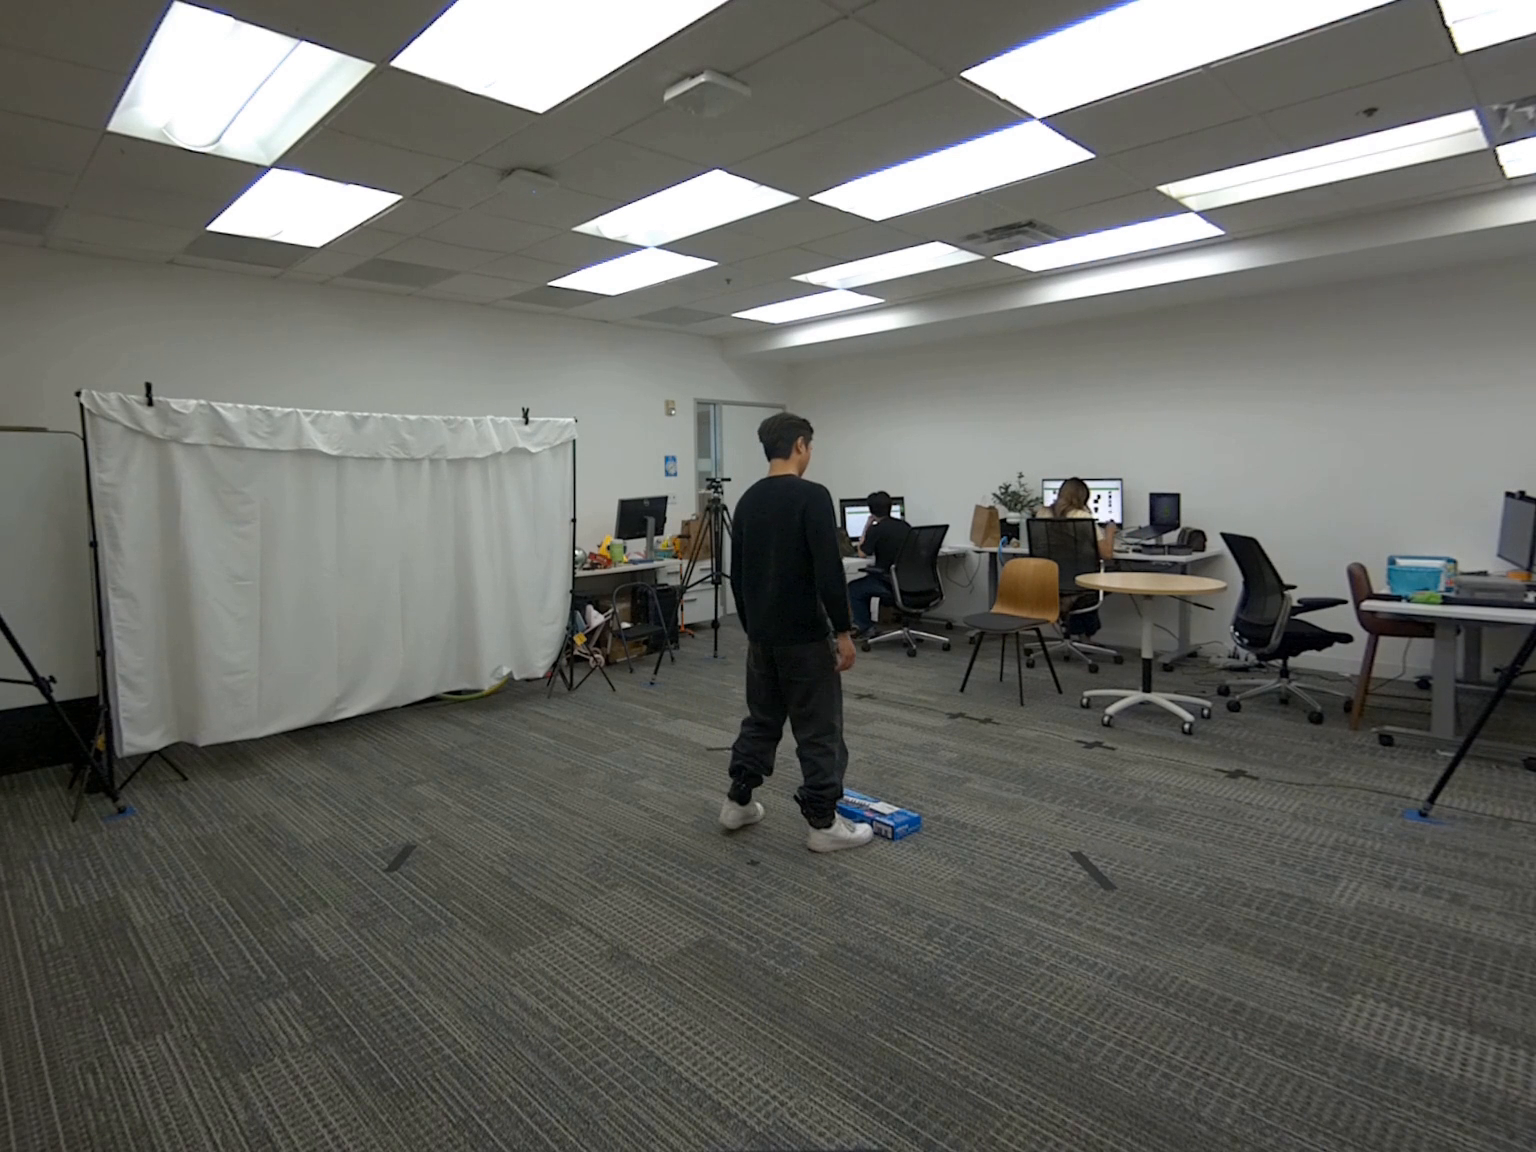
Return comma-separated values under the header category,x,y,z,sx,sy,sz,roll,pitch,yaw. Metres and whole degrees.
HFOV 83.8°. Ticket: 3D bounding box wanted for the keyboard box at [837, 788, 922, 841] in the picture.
category,x,y,z,sx,sy,sz,roll,pitch,yaw
keyboard box,0.396,0.961,3.490,0.171,0.059,0.450,-5,8,-41
